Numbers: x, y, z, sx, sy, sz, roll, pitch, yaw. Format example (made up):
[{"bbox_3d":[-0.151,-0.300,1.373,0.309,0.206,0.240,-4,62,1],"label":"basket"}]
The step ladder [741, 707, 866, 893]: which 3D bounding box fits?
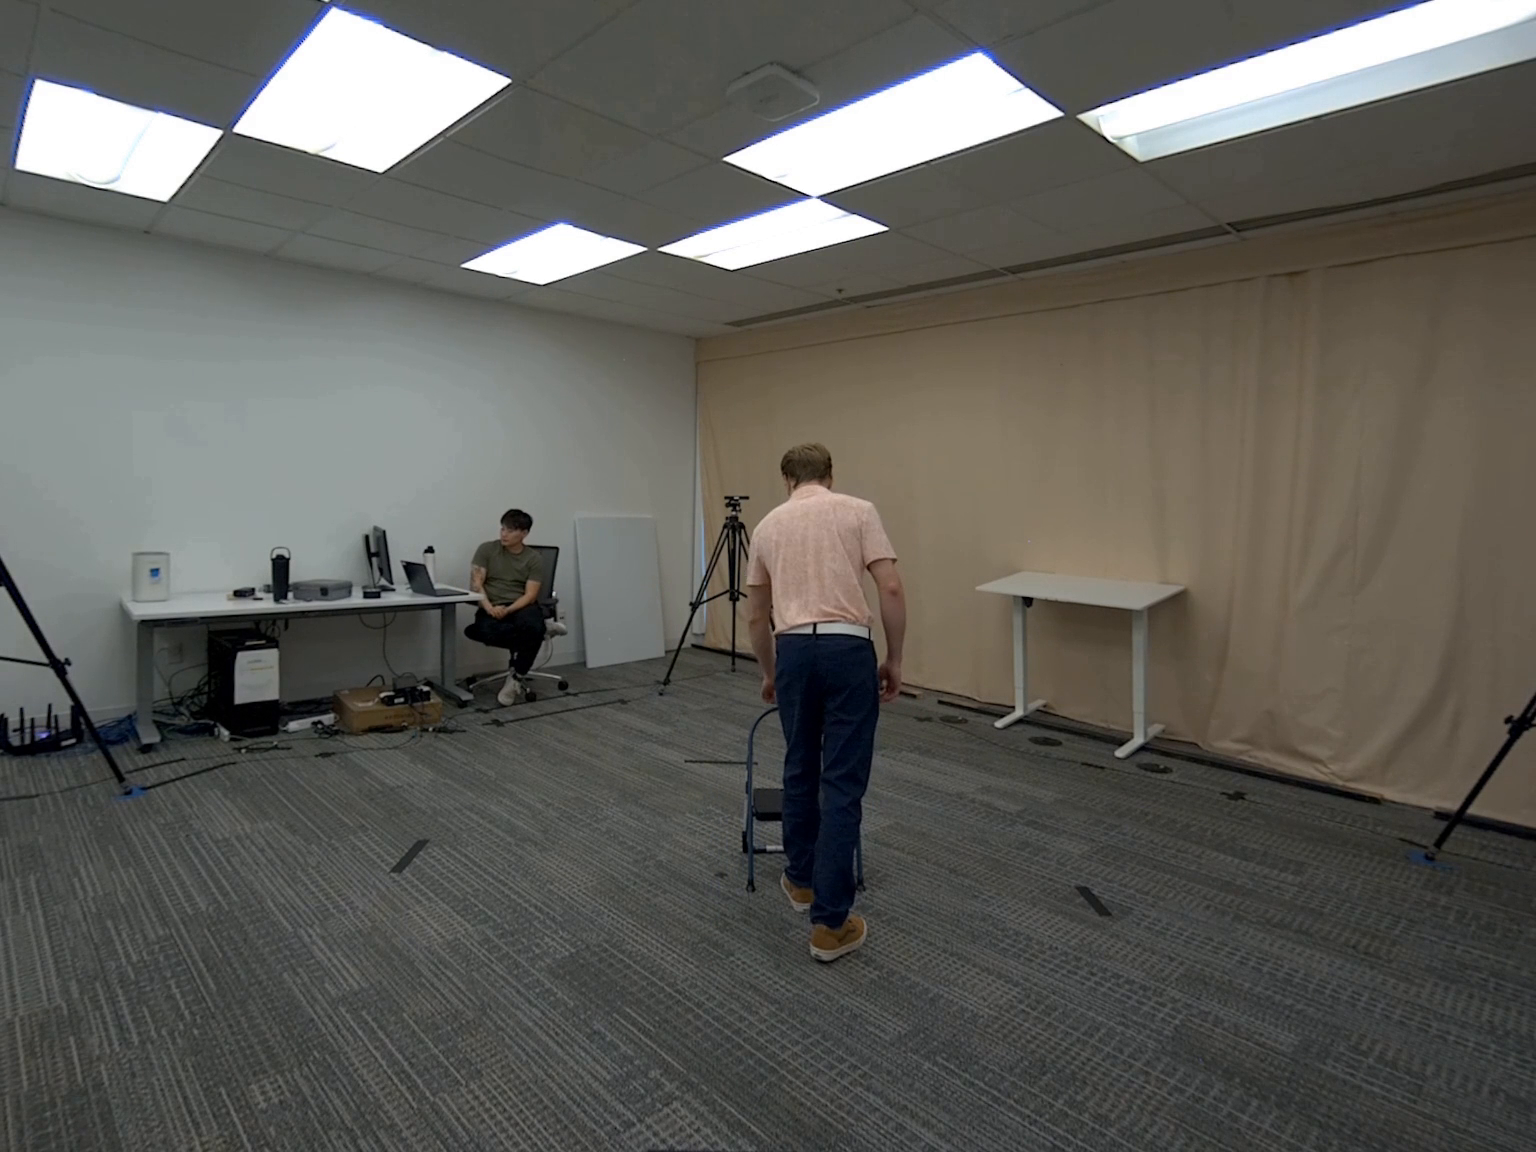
[{"bbox_3d":[0.123,0.807,3.144,0.429,0.604,0.351,2,4,-5],"label":"step ladder"}]
